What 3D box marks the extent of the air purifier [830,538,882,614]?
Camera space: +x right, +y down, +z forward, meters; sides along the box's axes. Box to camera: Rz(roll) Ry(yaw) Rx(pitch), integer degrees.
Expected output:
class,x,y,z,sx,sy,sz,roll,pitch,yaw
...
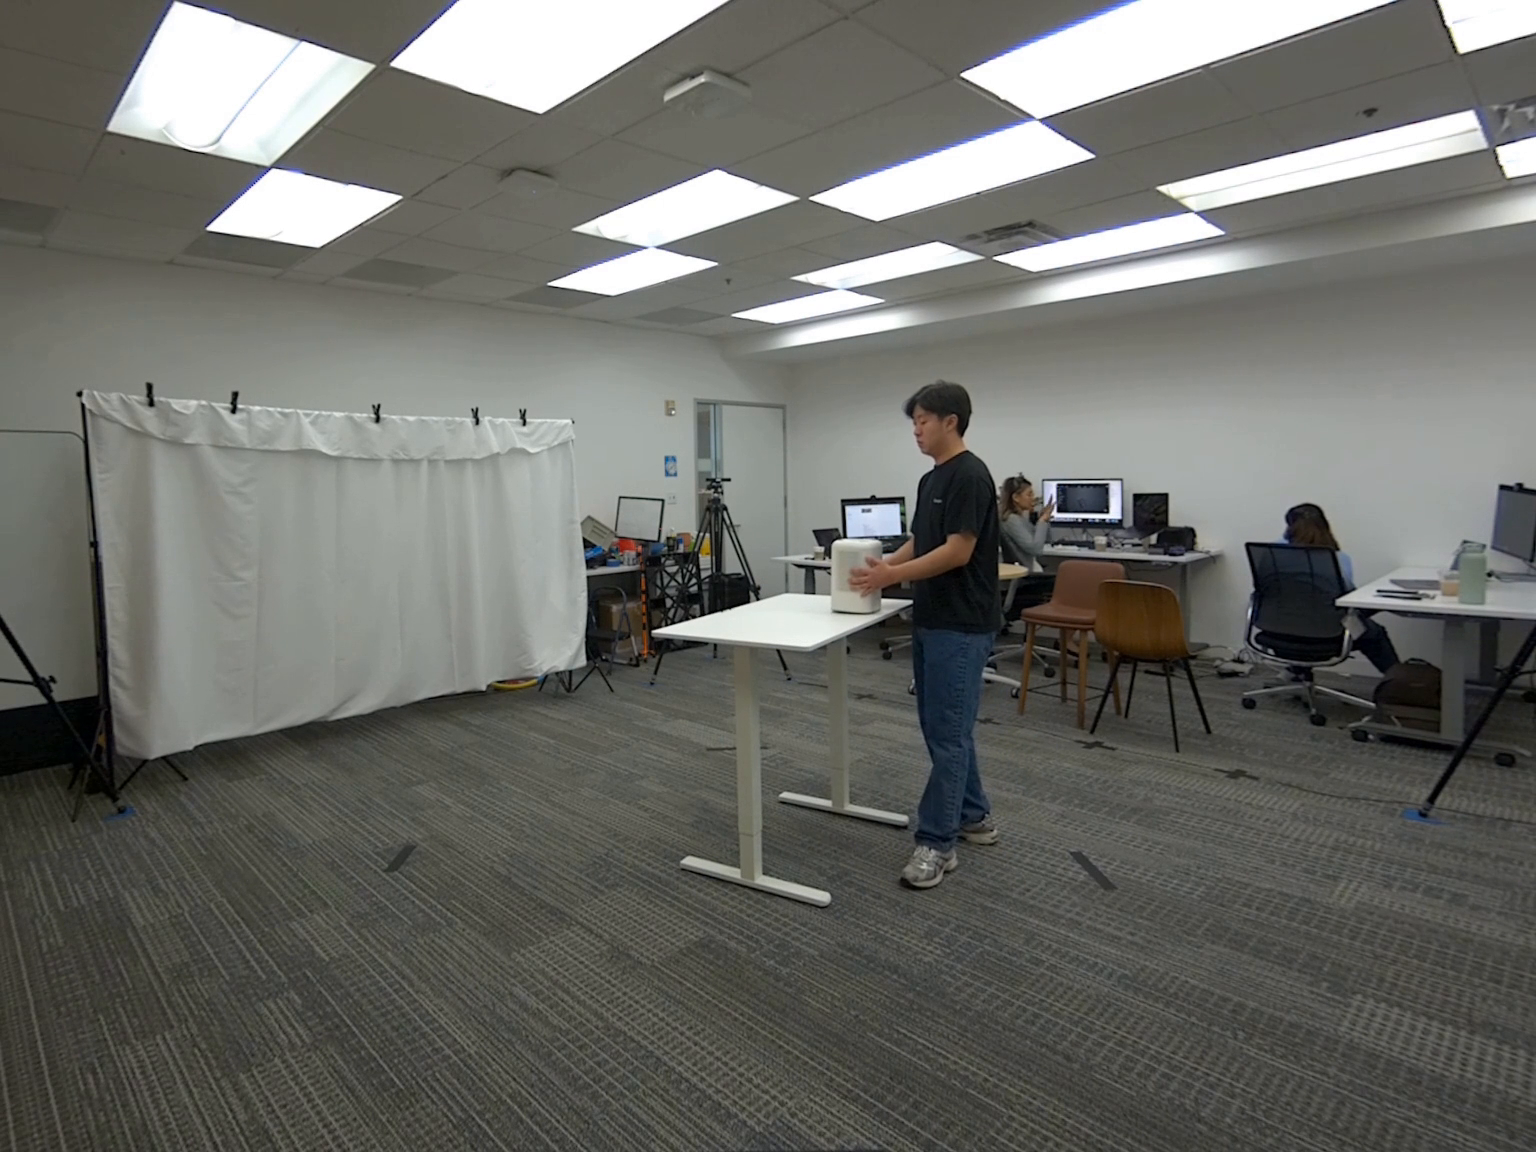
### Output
class,x,y,z,sx,sy,sz,roll,pitch,yaw
air purifier,0.342,-0.006,3.241,0.176,0.264,0.168,2,6,26
